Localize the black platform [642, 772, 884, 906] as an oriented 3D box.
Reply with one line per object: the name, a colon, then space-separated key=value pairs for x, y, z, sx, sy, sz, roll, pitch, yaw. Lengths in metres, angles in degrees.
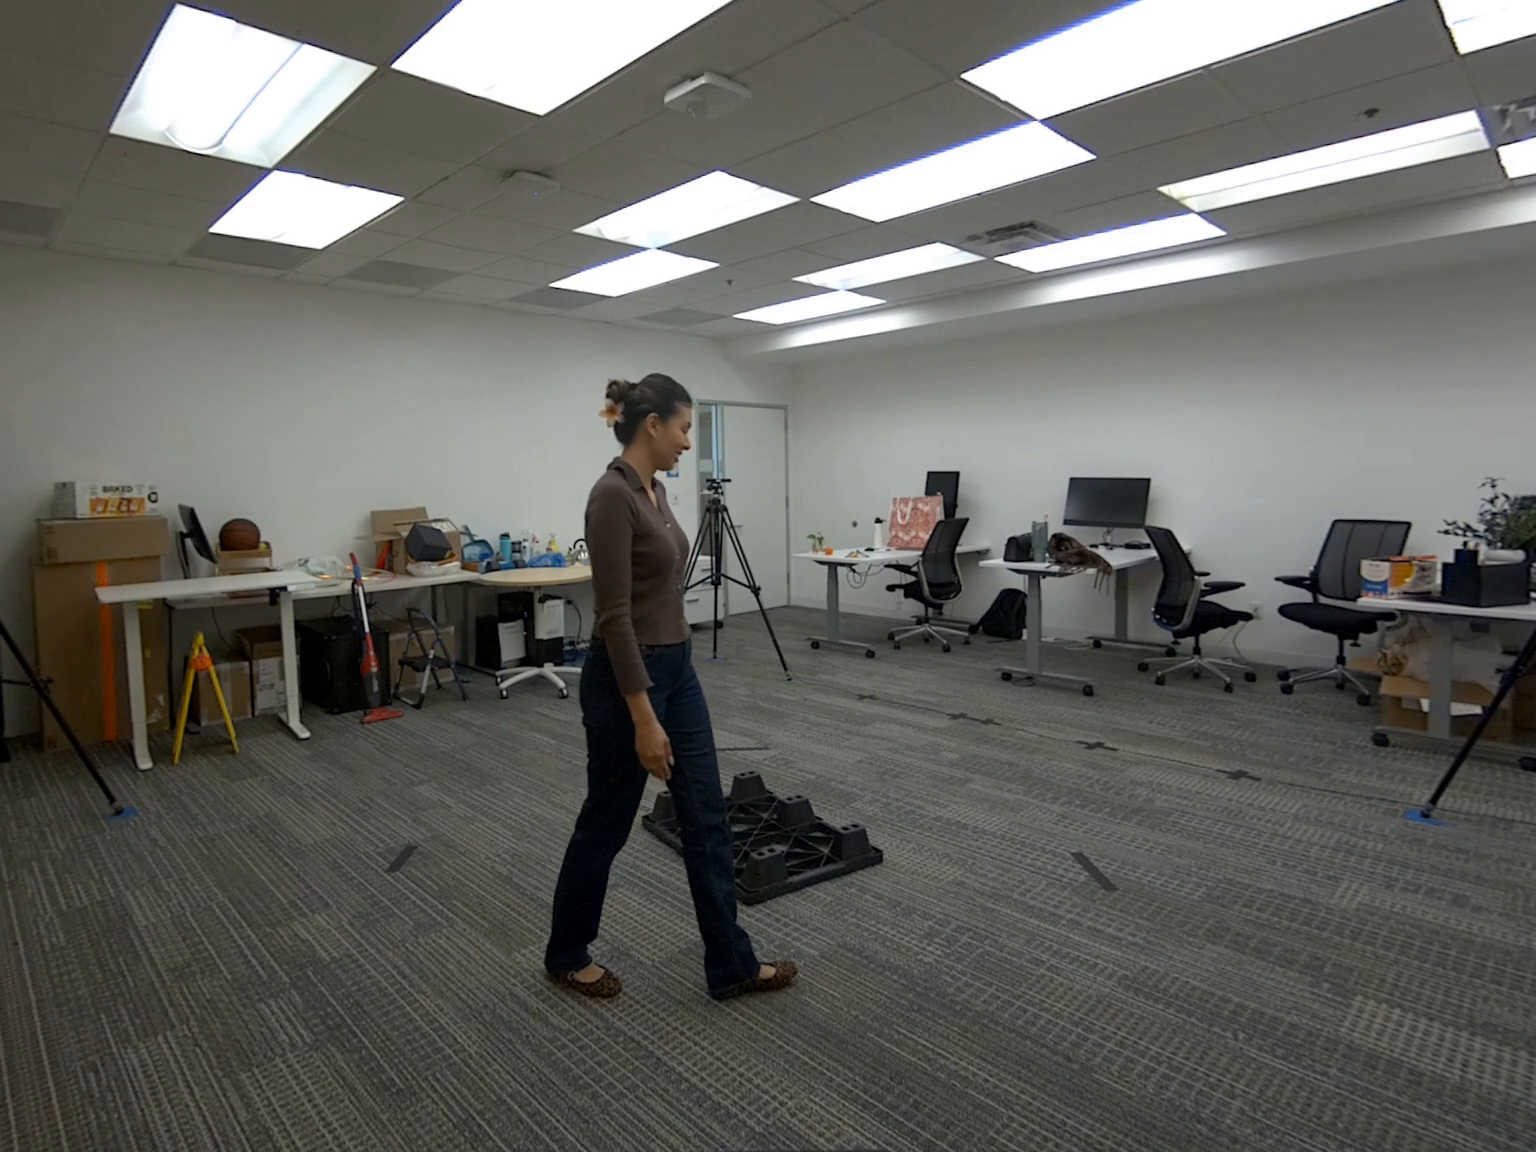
black platform: x=-0.051 y=0.958 z=3.279 sx=0.590 sy=0.143 sz=0.829 roll=-5 pitch=7 yaw=-33
